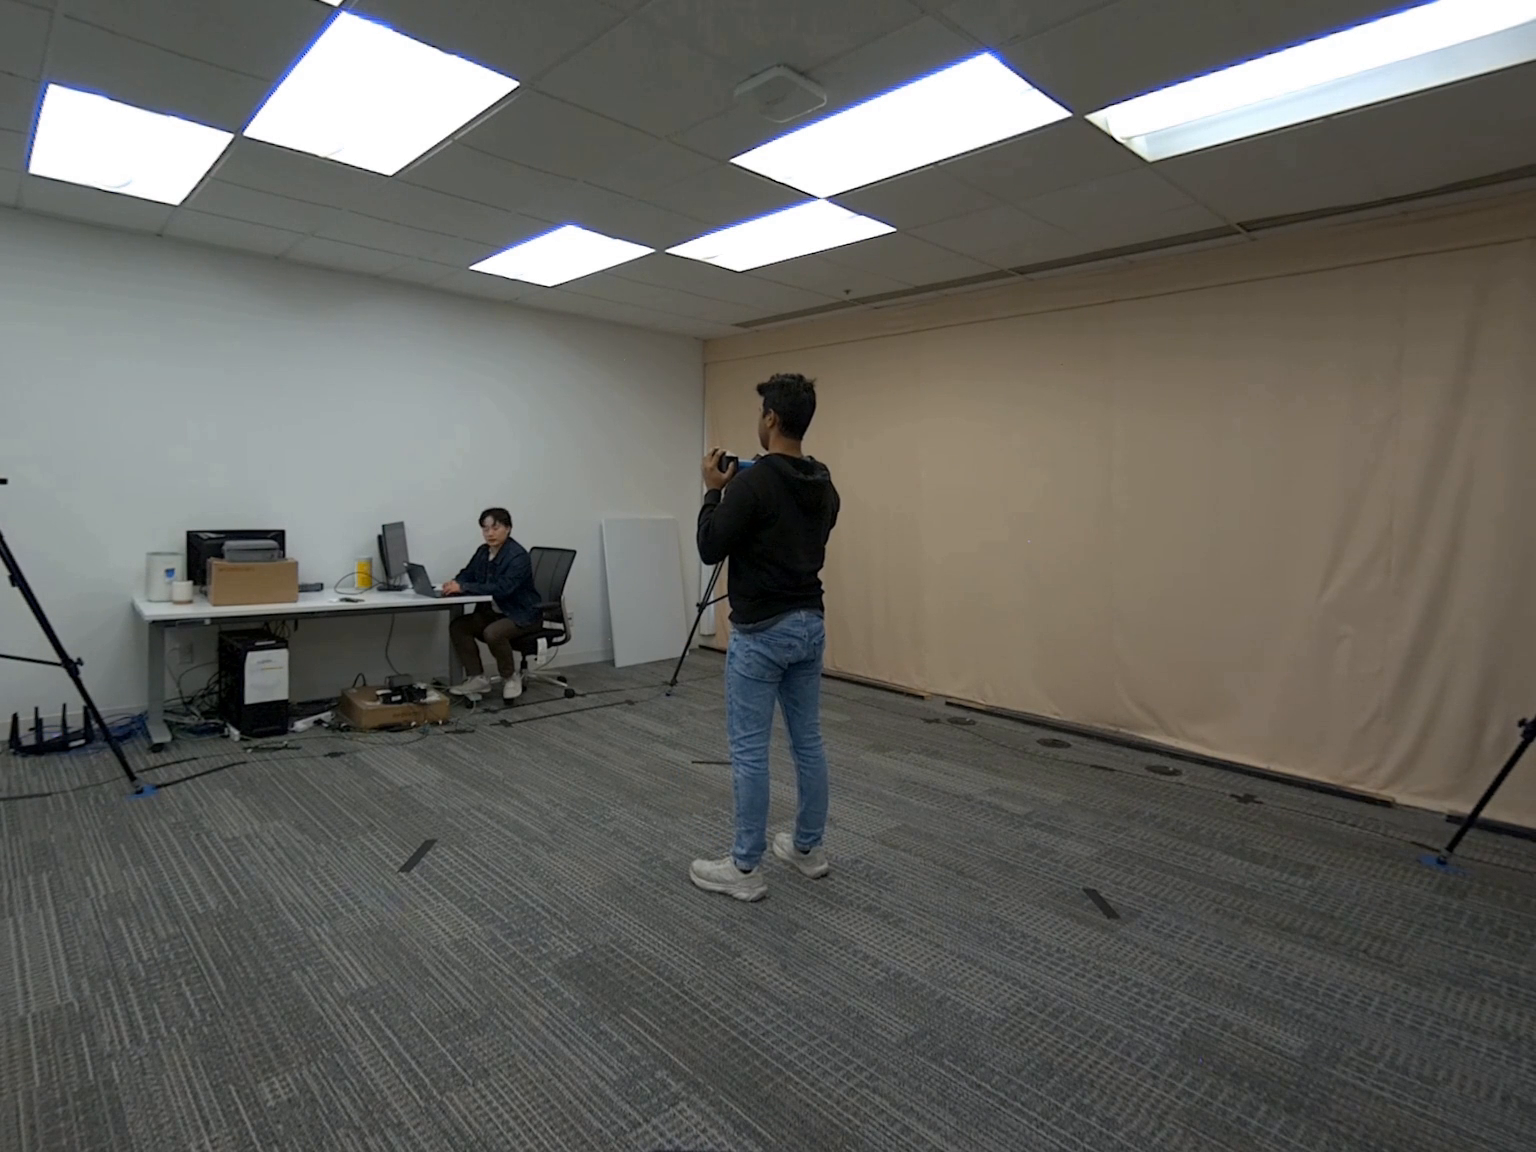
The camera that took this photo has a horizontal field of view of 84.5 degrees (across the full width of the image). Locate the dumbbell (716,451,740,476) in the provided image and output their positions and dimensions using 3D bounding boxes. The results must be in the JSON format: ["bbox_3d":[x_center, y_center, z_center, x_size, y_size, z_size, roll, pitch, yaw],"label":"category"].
[{"bbox_3d":[-0.083,-0.400,3.130,0.287,0.123,0.111,-2,0,-41],"label":"dumbbell"}]
